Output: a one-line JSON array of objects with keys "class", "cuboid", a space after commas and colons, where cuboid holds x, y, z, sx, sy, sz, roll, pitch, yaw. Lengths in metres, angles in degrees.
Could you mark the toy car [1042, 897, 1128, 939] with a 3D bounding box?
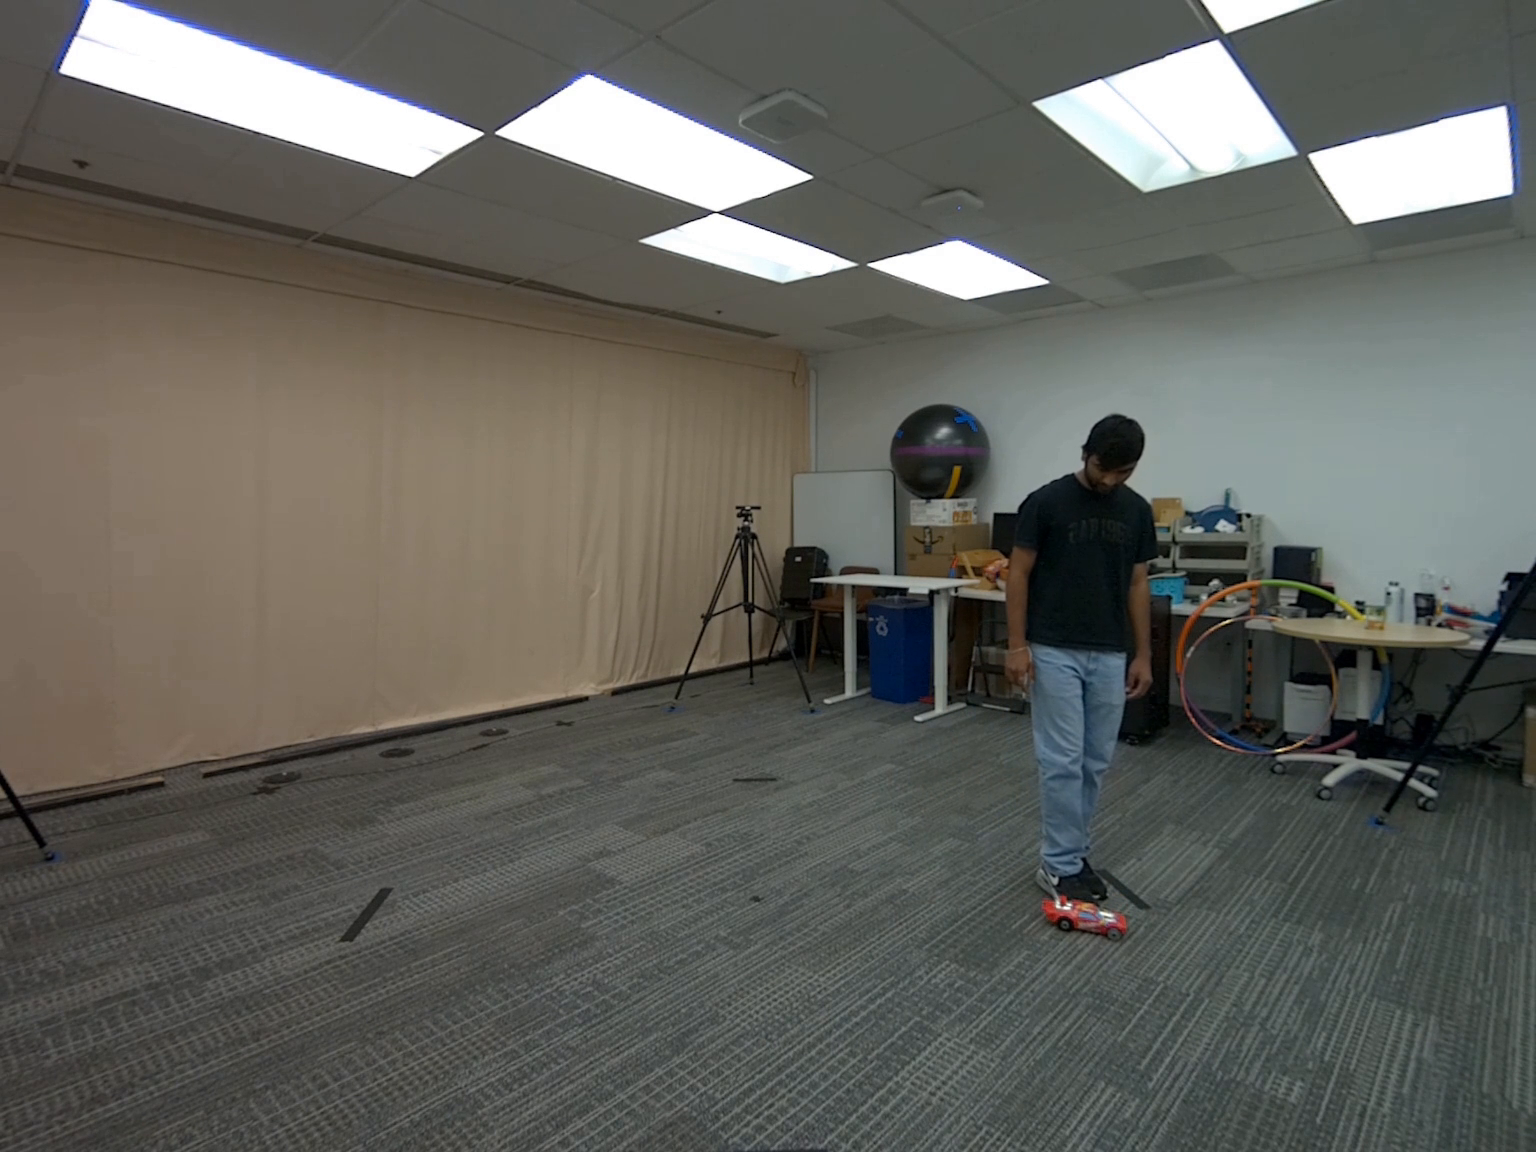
[{"class": "toy car", "cuboid": [1.047, 1.130, 2.782, 0.261, 0.083, 0.127, 14, 11, 23]}]
